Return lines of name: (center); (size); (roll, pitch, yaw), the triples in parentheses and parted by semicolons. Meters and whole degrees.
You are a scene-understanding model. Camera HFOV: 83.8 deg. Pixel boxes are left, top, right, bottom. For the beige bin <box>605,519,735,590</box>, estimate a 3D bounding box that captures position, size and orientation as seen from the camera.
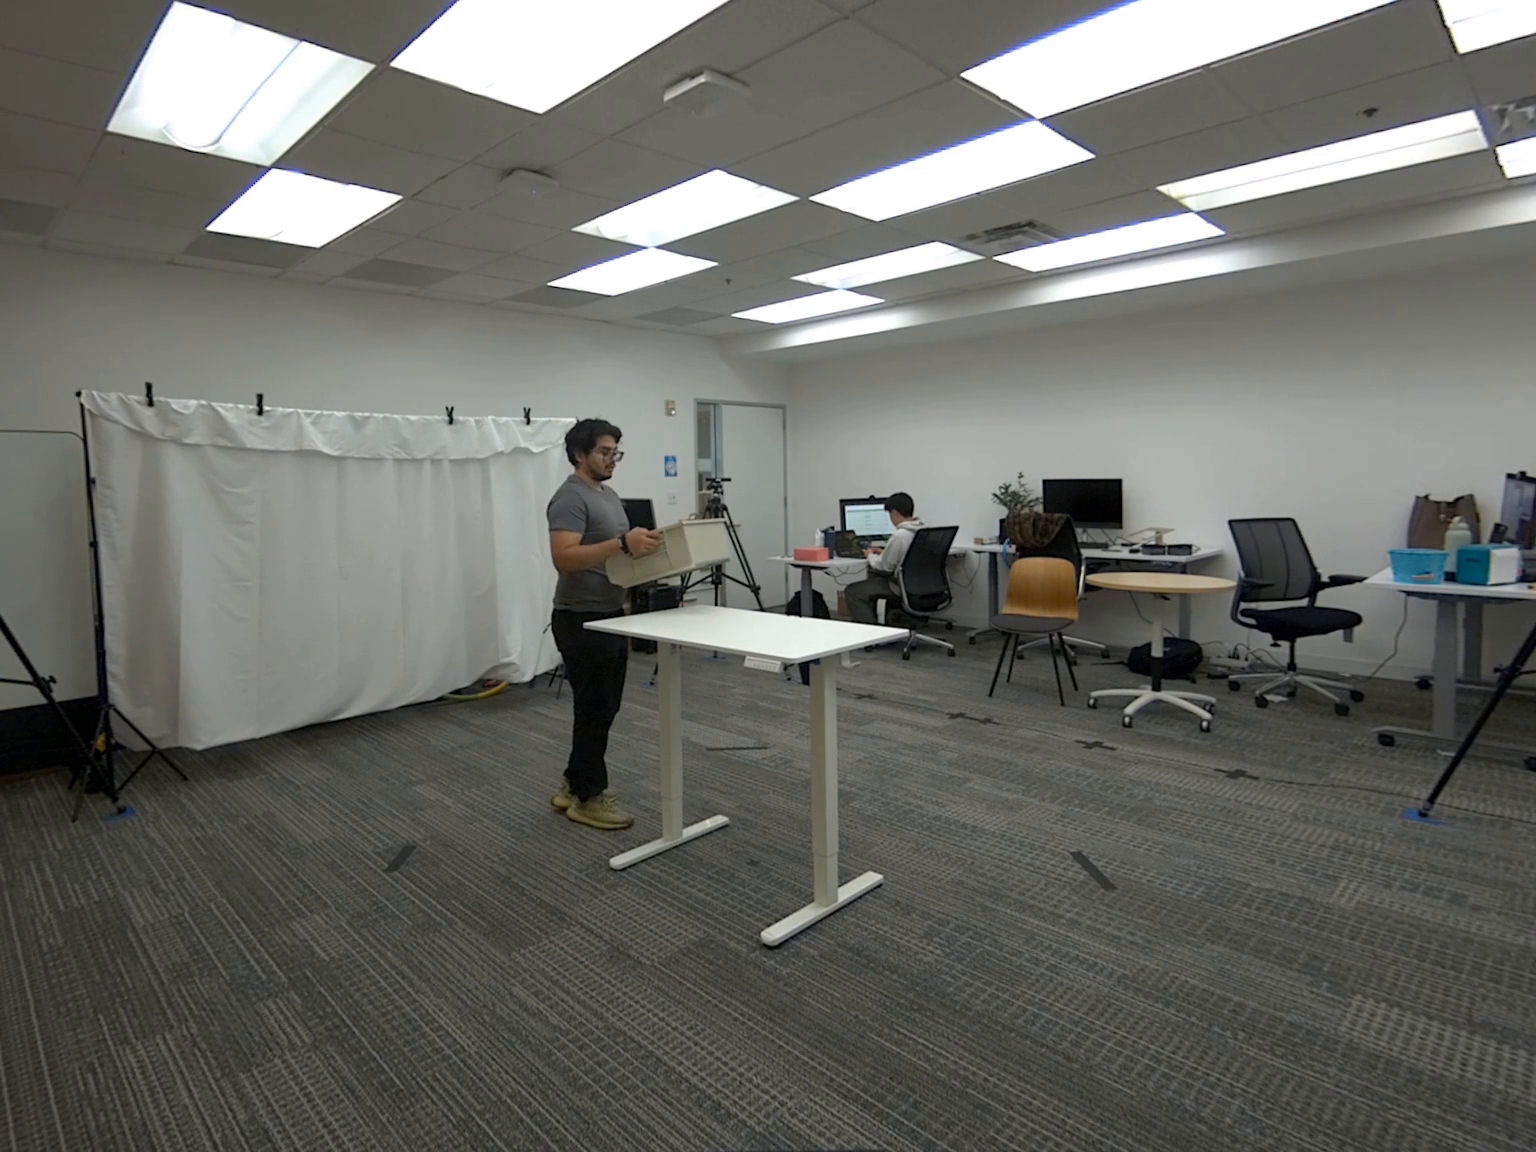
beige bin: (-0.401, -0.081, 3.453); (0.383, 0.189, 0.415); (-15, -1, 22)
